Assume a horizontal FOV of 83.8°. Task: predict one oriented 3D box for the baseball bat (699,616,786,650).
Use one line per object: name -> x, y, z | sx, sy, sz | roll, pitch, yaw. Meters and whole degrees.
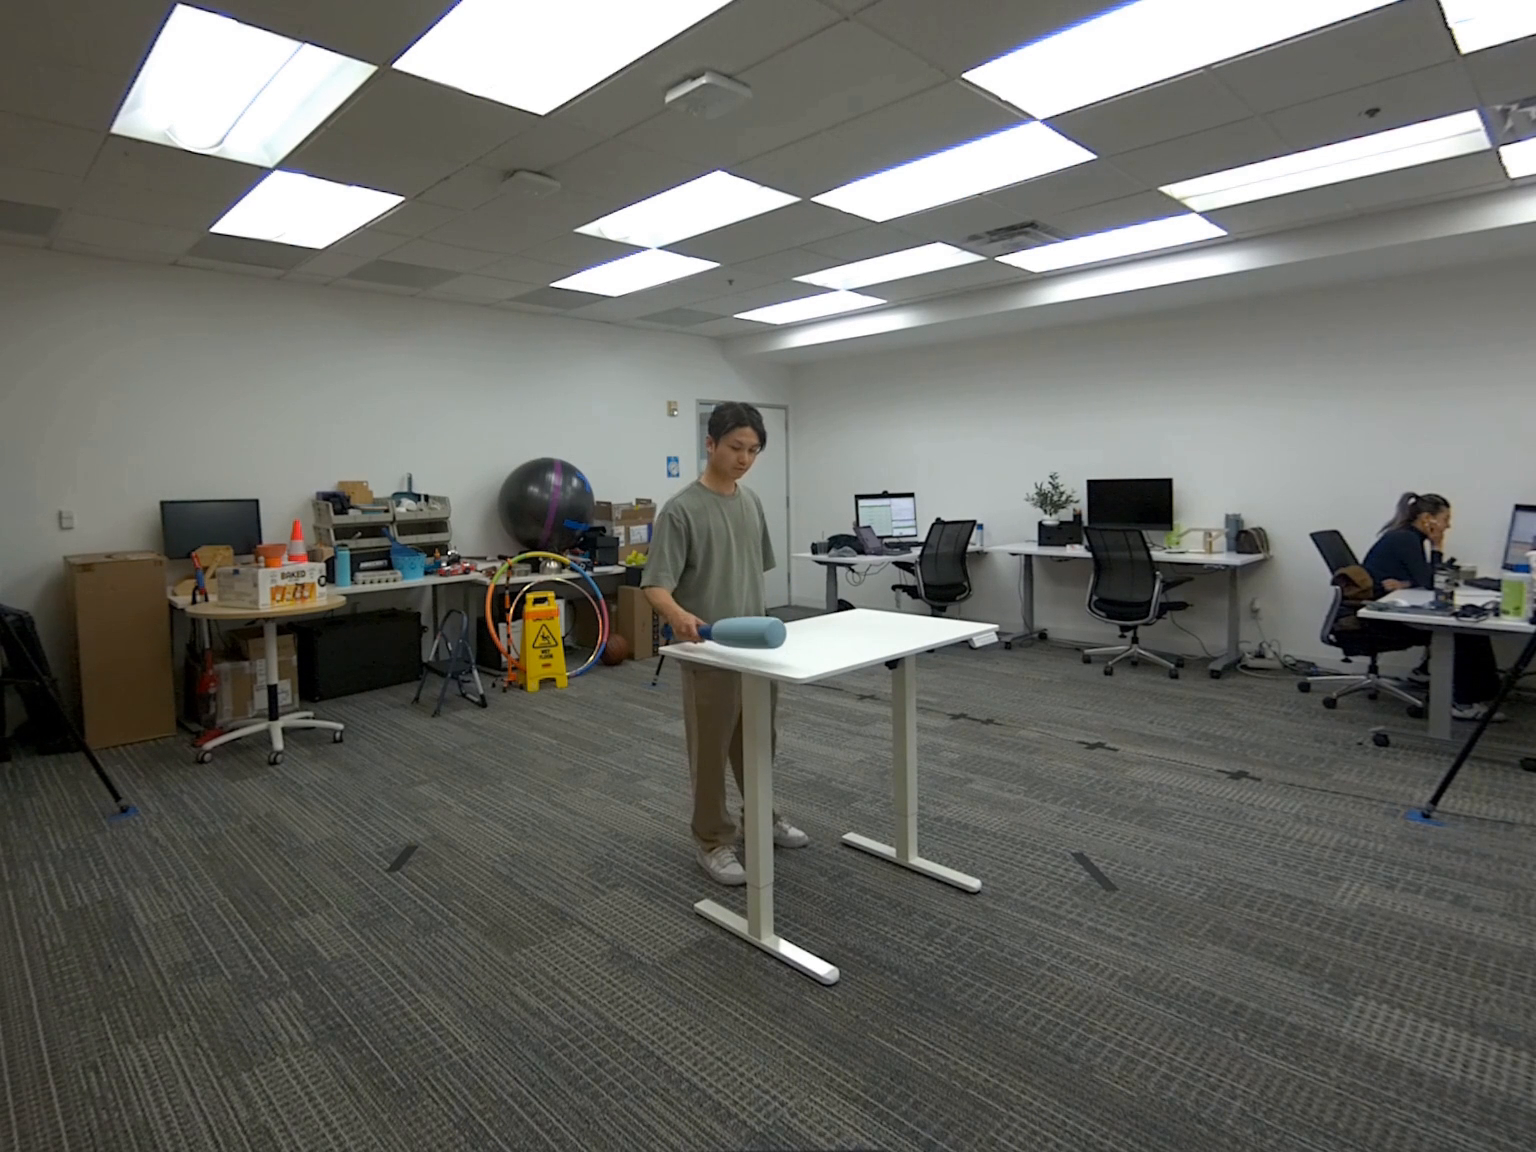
baseball bat -> -0.155, 0.173, 2.509 | 0.087, 0.089, 0.557 | -5, 0, -38
